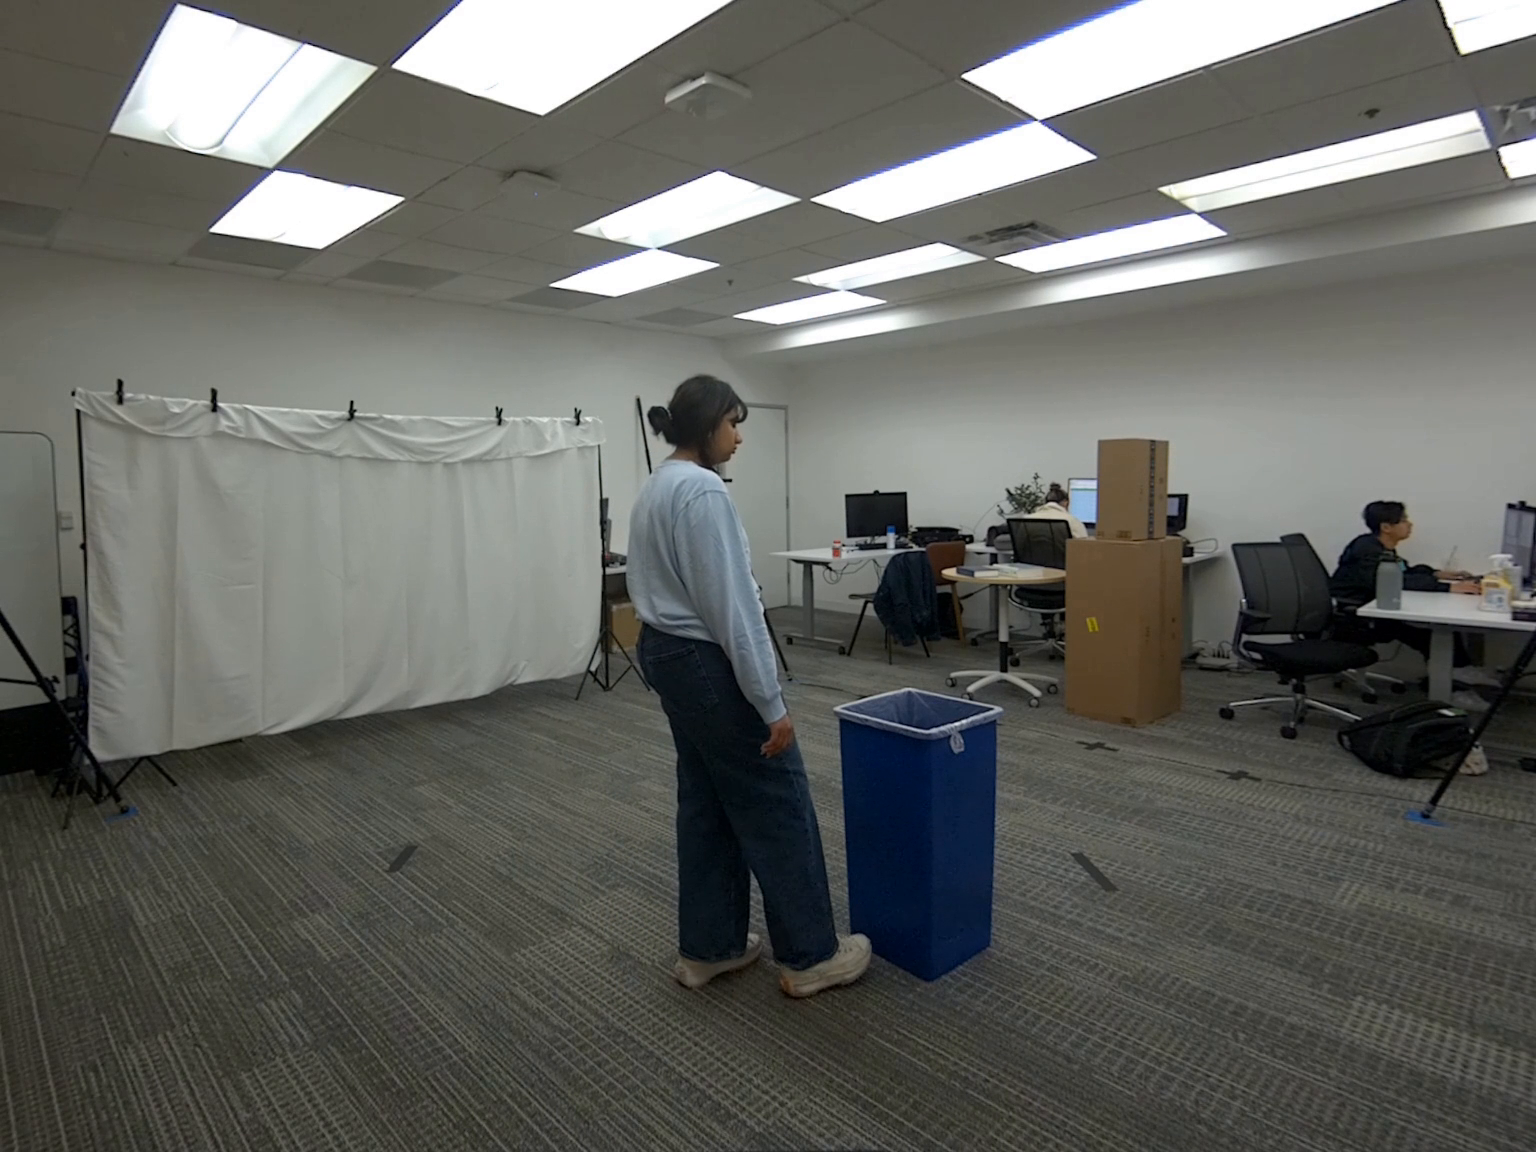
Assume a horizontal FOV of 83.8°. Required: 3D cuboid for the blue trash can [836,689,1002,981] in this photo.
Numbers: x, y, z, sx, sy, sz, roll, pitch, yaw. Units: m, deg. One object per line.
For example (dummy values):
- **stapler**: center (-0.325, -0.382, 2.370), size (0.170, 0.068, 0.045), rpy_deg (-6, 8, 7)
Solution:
- **blue trash can**: center (0.455, 0.744, 2.553), size (0.364, 0.711, 0.389), rpy_deg (-5, 5, -41)
